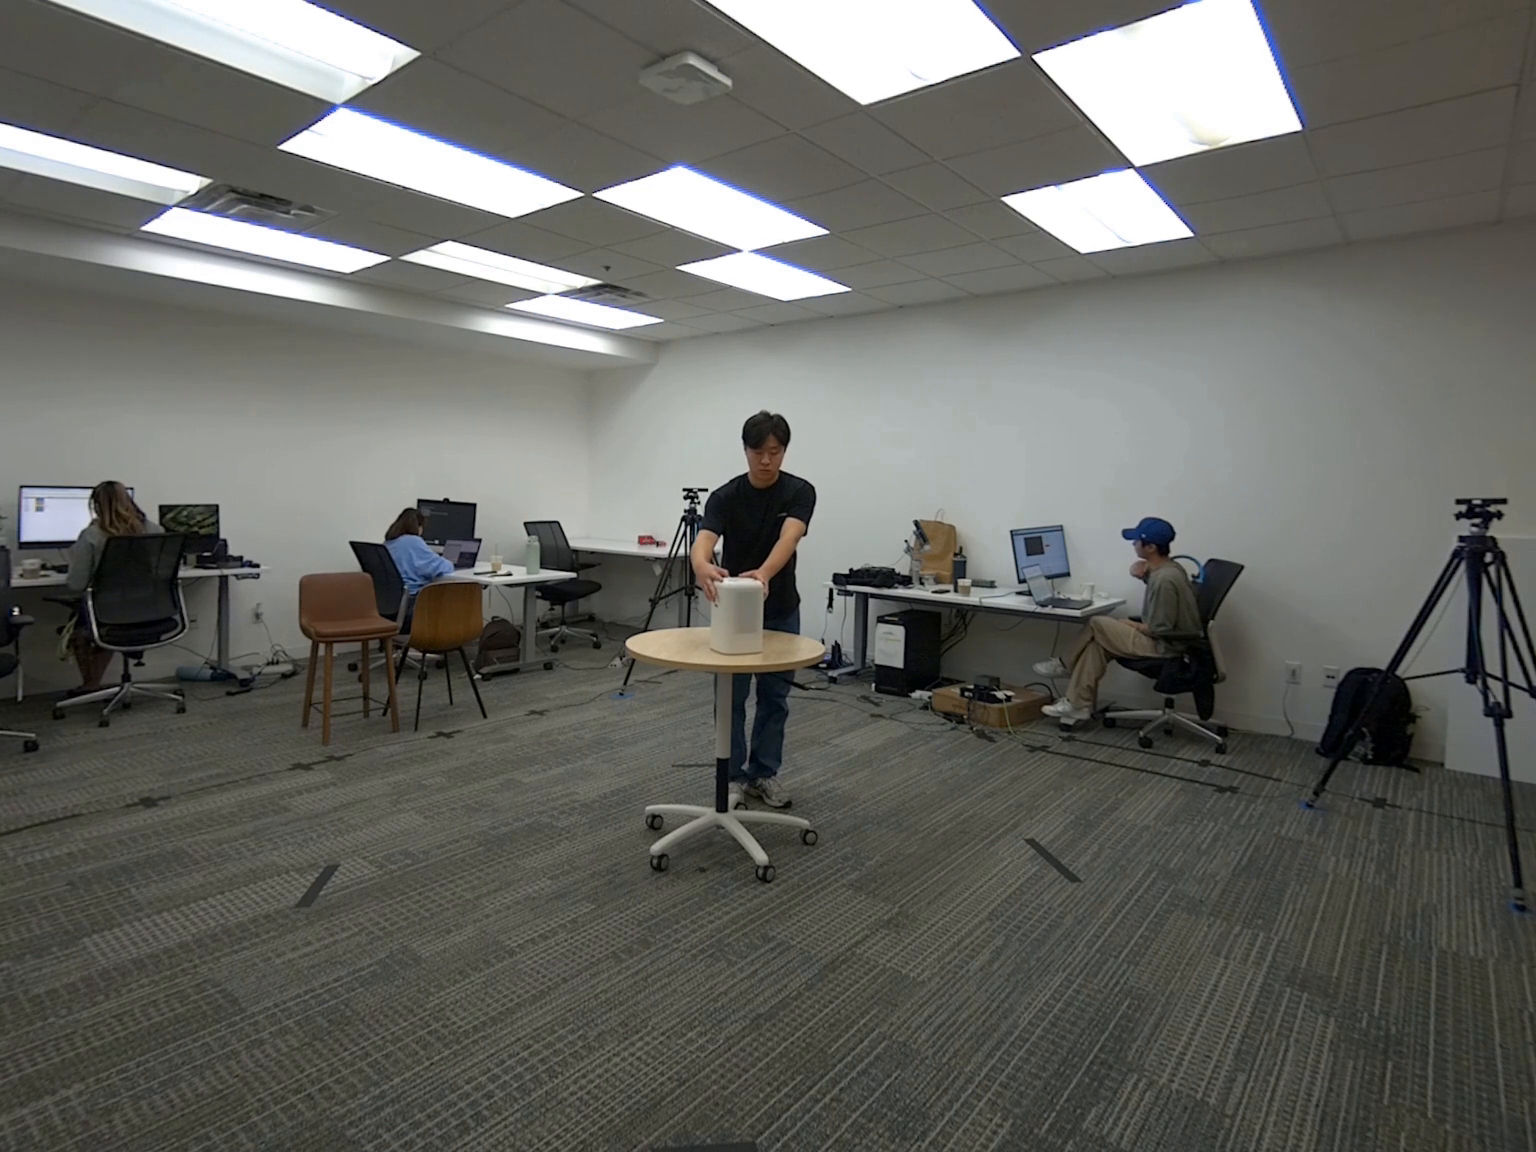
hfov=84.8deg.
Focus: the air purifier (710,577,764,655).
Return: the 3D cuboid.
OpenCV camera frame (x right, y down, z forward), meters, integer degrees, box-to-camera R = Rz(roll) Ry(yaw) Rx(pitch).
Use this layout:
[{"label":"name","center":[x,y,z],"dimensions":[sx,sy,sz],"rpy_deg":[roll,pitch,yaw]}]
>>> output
[{"label":"air purifier","center":[-0.126,0.139,3.146],"dimensions":[0.168,0.264,0.175],"rpy_deg":[0,5,-22]}]
